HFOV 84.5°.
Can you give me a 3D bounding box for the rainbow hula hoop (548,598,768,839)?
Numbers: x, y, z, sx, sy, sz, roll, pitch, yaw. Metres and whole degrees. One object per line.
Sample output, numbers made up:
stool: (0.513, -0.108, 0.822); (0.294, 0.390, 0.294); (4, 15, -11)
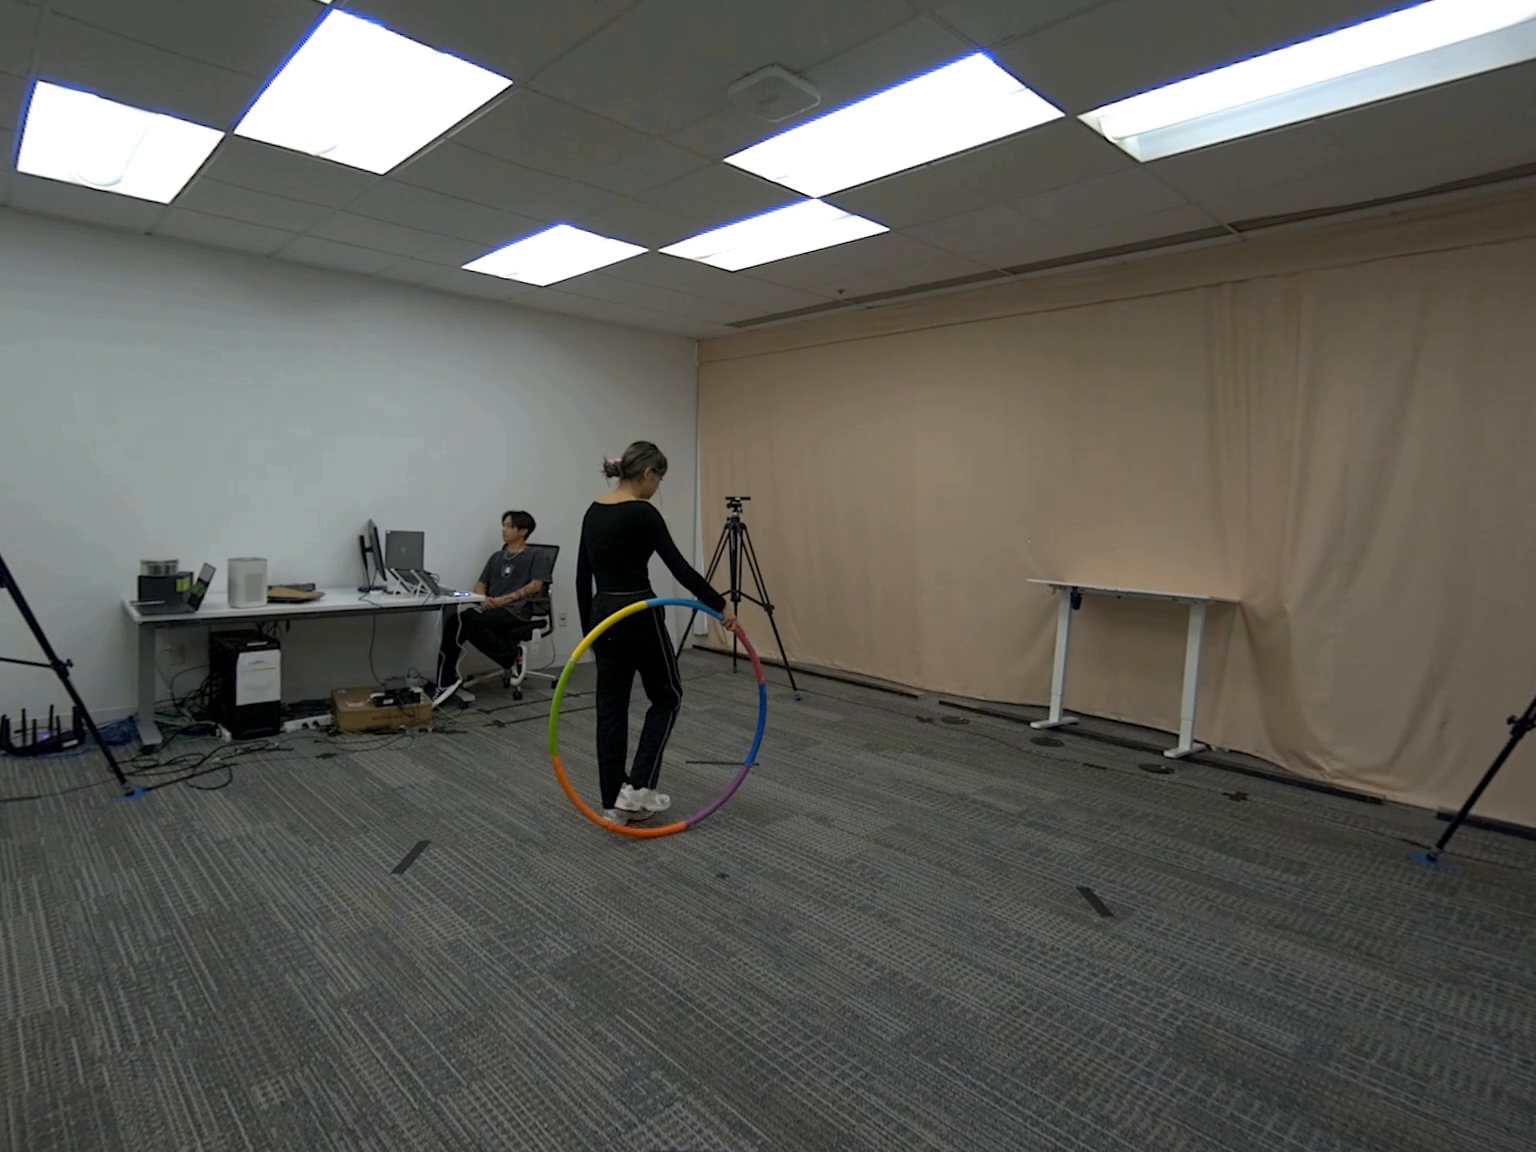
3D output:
rainbow hula hoop: (-0.432, 0.580, 3.457); (0.958, 0.977, 0.036); (-2, 3, -31)
